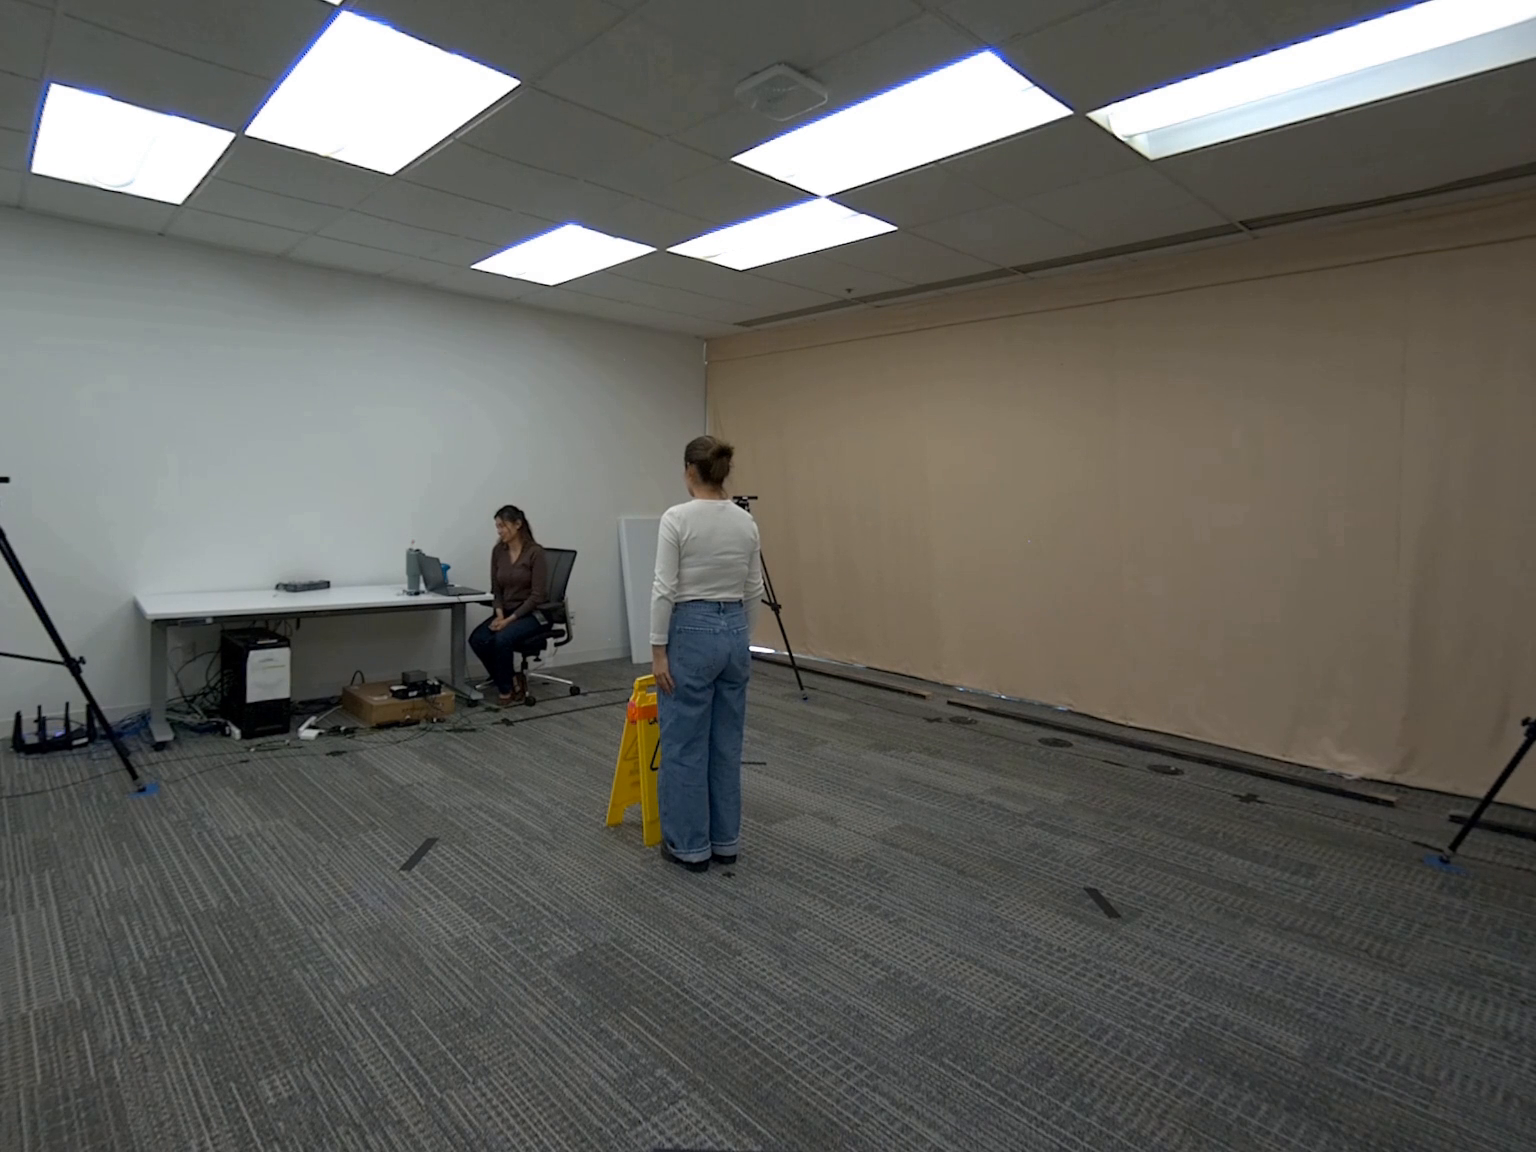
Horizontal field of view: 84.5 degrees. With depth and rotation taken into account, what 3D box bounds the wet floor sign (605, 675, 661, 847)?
[{"bbox_3d":[-0.485,0.734,3.511,0.275,0.645,0.297,0,2,-44],"label":"wet floor sign"}]
